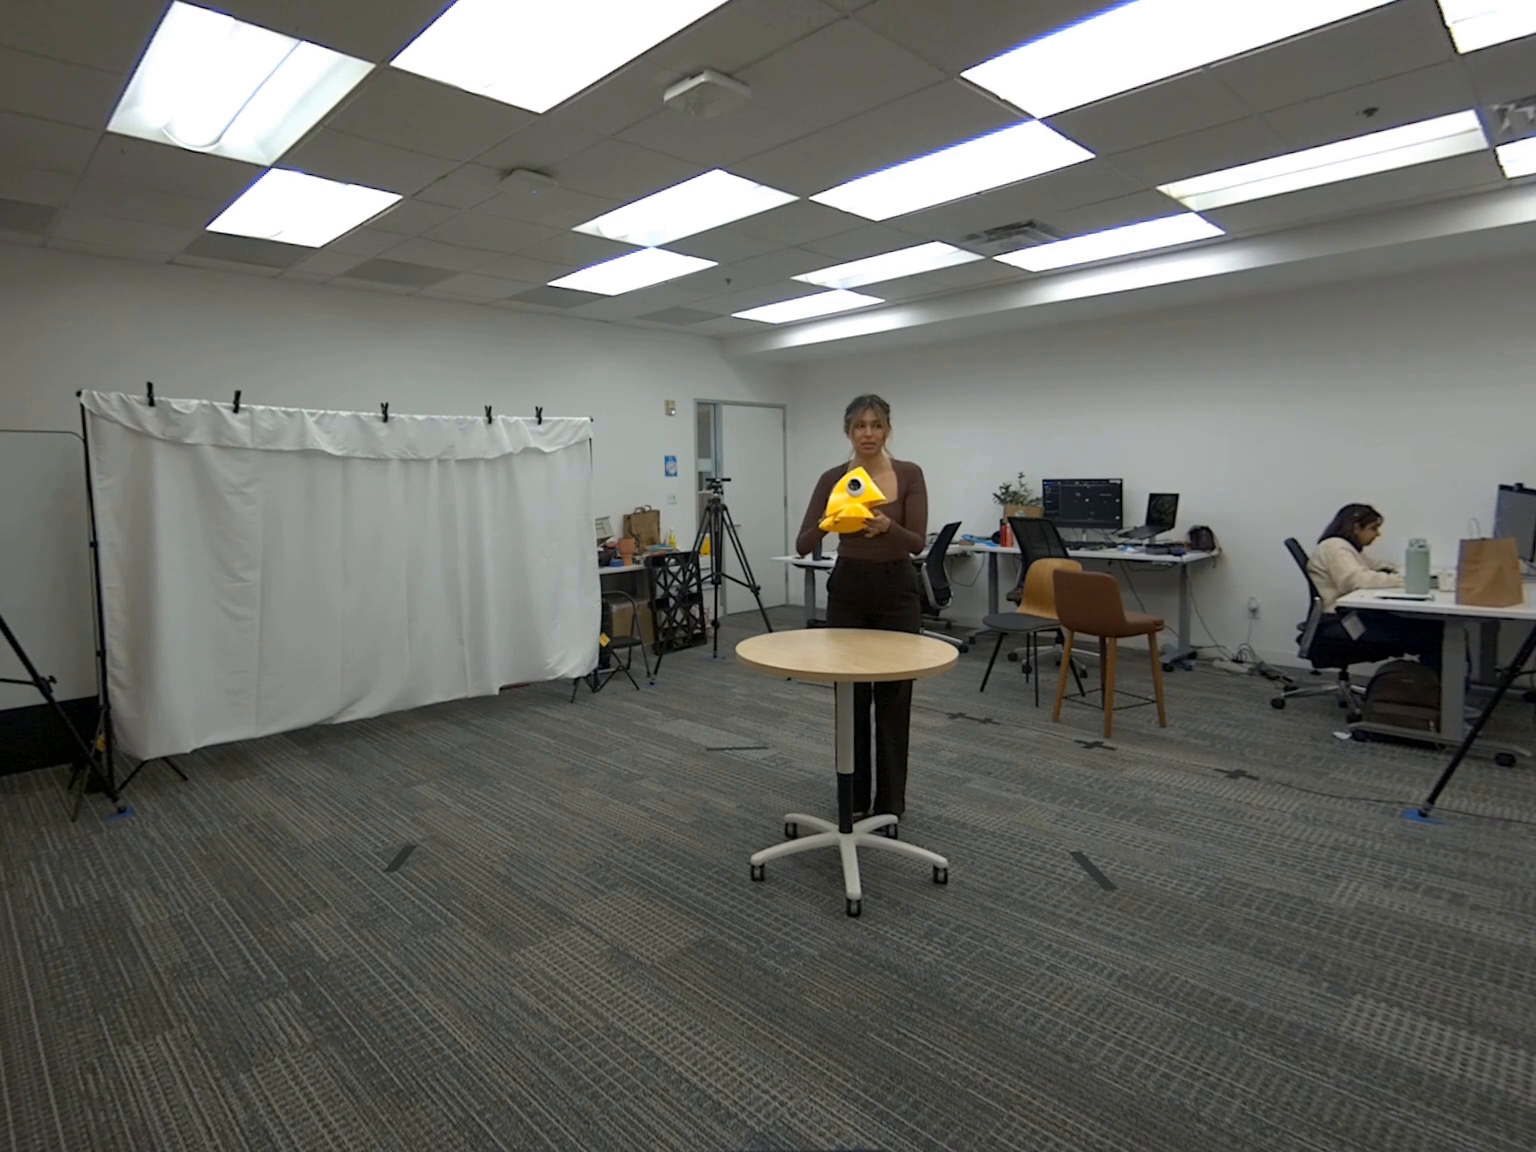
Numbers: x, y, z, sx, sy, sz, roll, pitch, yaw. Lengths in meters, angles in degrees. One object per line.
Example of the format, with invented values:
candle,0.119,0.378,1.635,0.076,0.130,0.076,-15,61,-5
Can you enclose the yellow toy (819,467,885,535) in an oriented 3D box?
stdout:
yellow toy,0.290,-0.292,3.111,0.188,0.234,0.207,5,-15,-26
